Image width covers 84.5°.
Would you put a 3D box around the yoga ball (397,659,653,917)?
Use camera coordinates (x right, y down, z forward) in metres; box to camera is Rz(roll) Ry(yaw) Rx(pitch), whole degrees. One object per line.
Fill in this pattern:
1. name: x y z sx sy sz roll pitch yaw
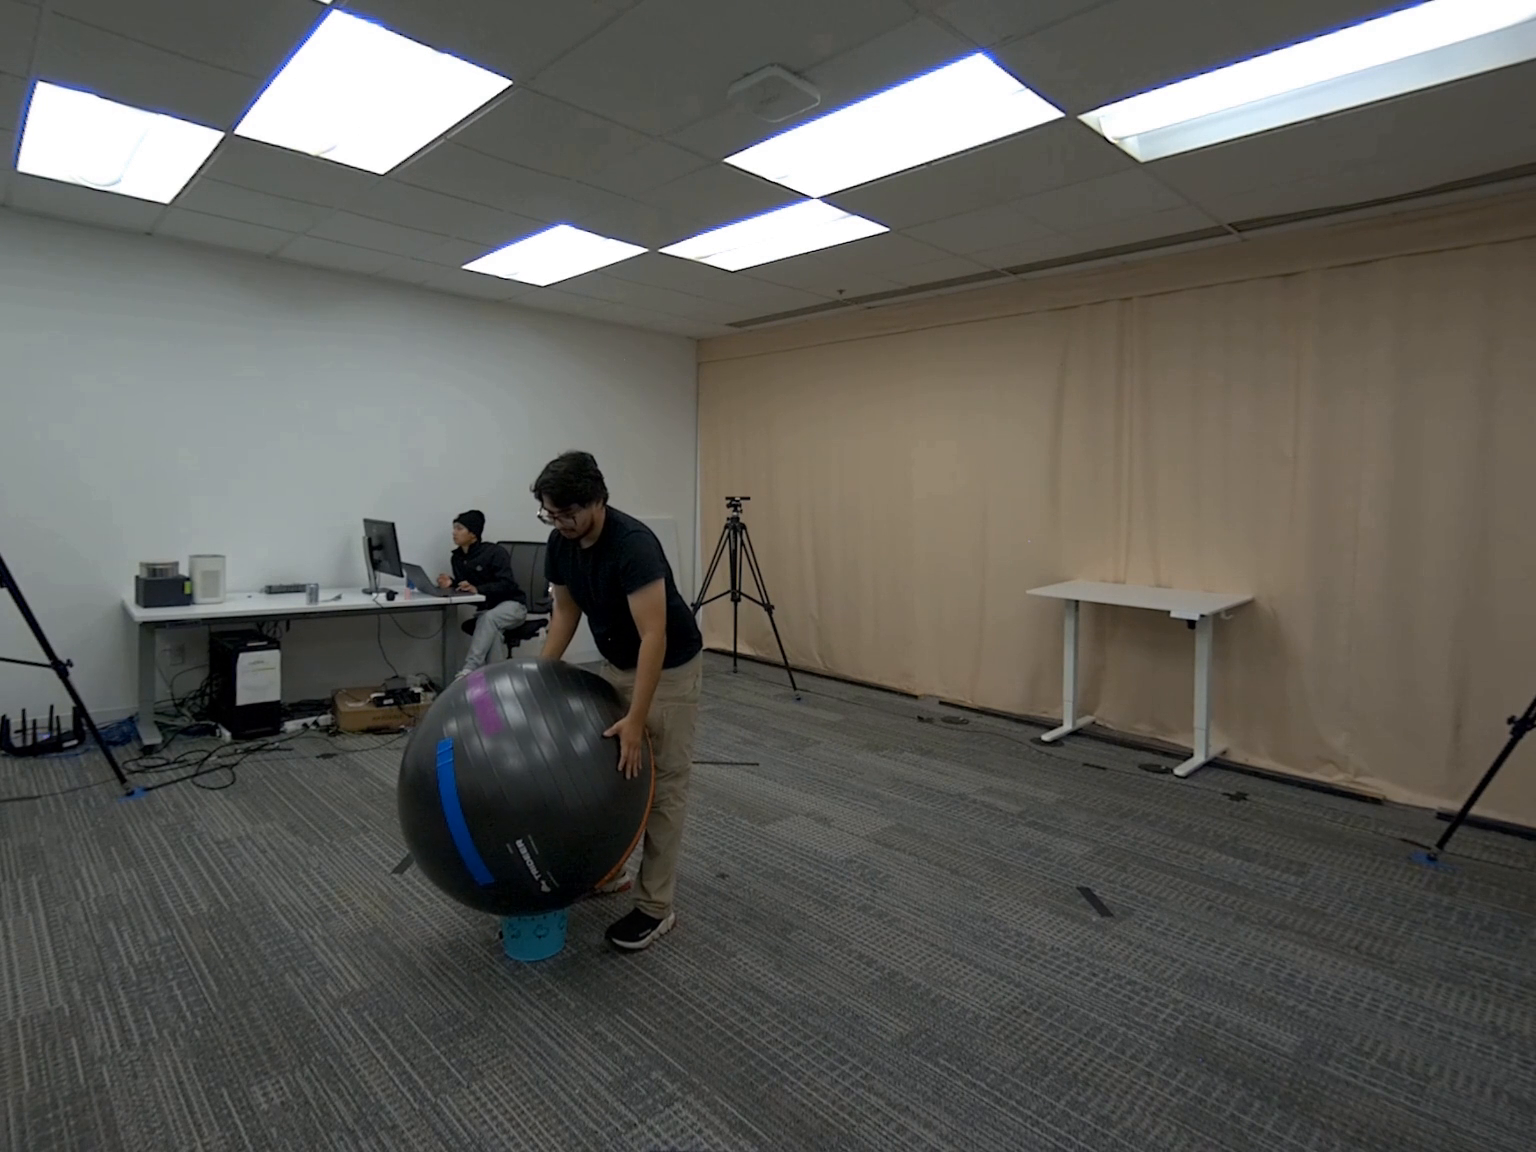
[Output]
1. yoga ball: -0.740 0.638 2.568 0.757 0.756 0.761 1 4 -1
